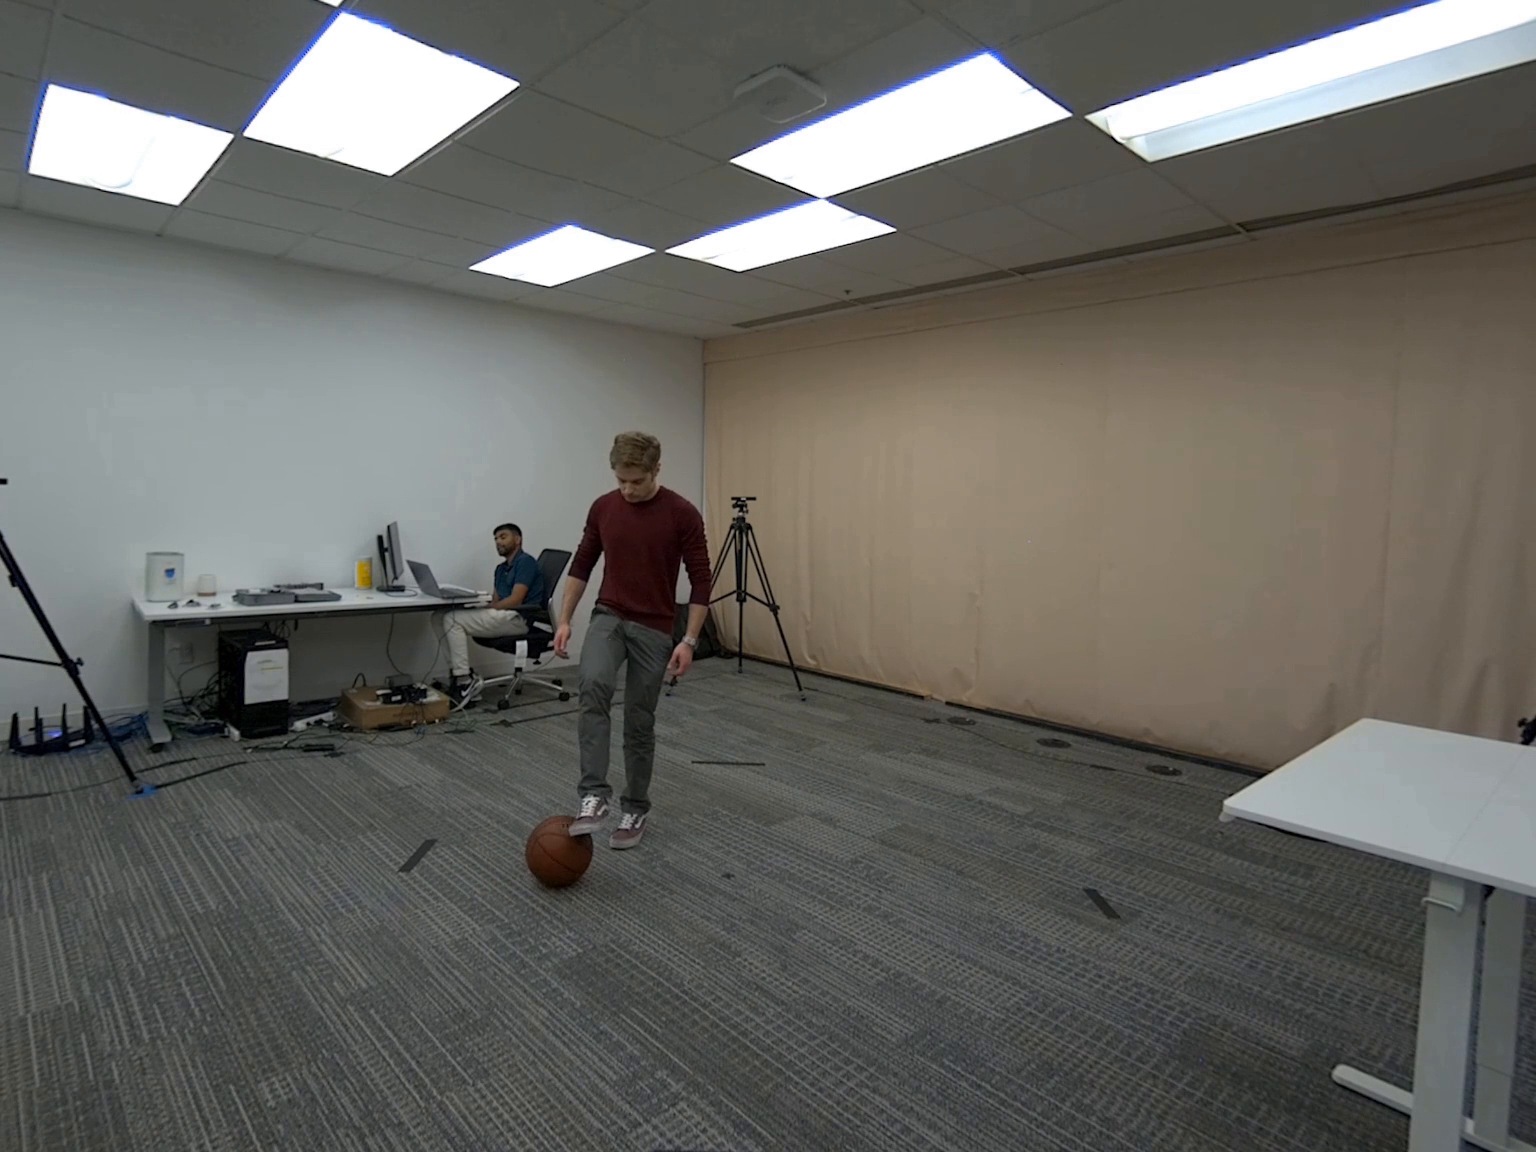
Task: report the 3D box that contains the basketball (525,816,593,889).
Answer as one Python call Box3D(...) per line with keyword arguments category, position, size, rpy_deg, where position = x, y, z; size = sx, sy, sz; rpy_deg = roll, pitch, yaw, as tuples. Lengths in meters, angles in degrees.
Box3D(category="basketball", position=(-0.754, 0.983, 3.009), size=(0.236, 0.235, 0.237), rpy_deg=(1, 4, -1))
